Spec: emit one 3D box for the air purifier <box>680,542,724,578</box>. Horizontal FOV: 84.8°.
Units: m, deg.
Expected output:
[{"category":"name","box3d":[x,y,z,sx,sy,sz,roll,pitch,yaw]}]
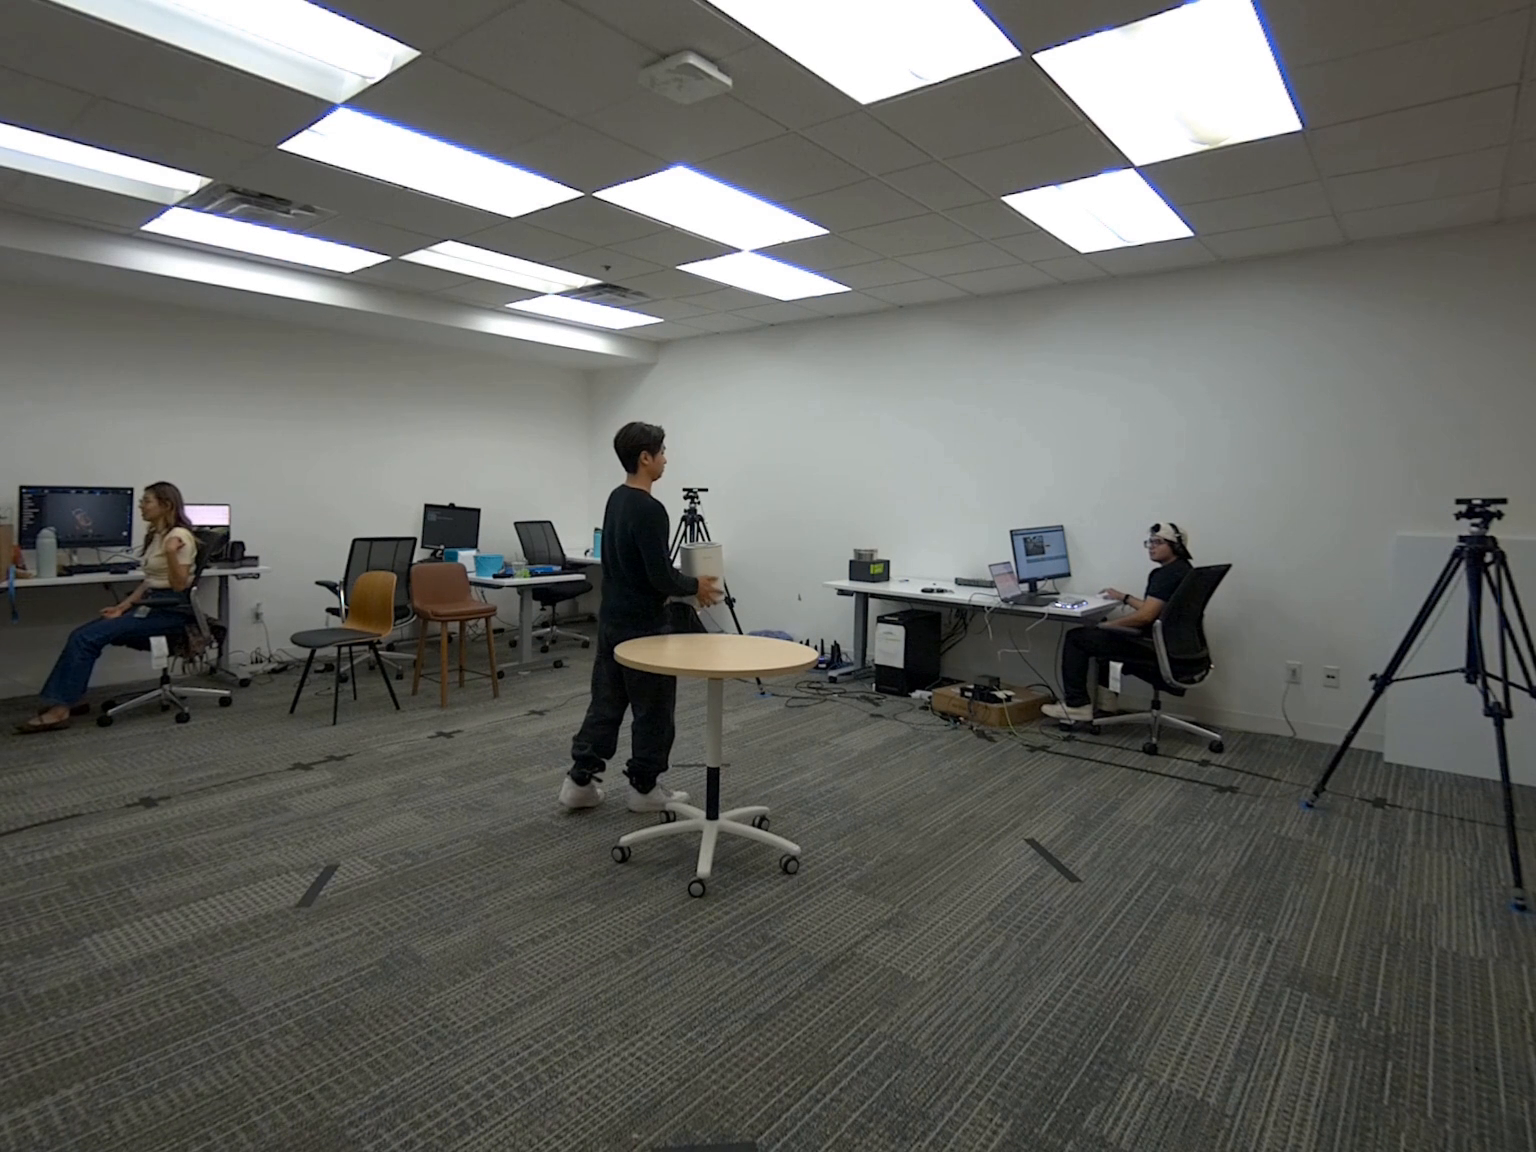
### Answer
[{"category":"air purifier","box3d":[-0.314,-0.011,3.801,0.167,0.263,0.177,-7,9,-26]}]
